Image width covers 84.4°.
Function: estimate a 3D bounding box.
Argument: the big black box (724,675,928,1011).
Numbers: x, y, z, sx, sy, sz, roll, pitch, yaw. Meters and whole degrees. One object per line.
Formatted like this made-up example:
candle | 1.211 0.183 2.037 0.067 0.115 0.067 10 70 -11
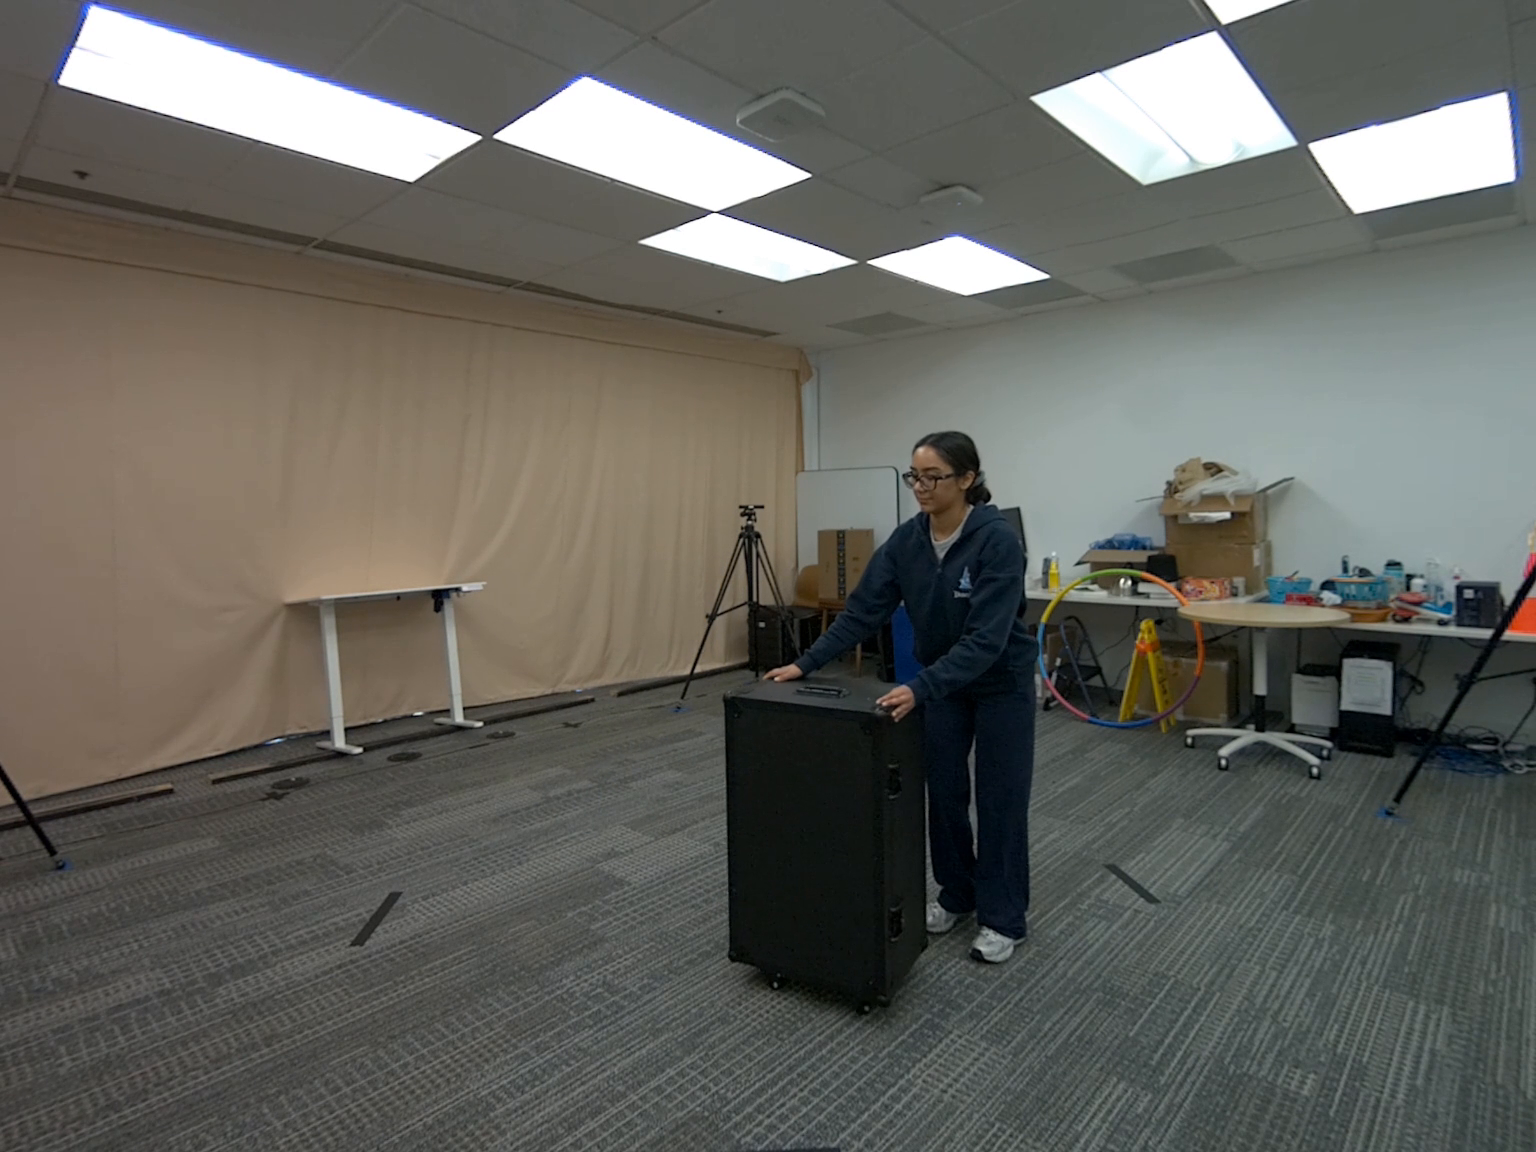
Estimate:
big black box | 0.174 0.761 2.466 0.536 0.860 0.386 1 3 30
